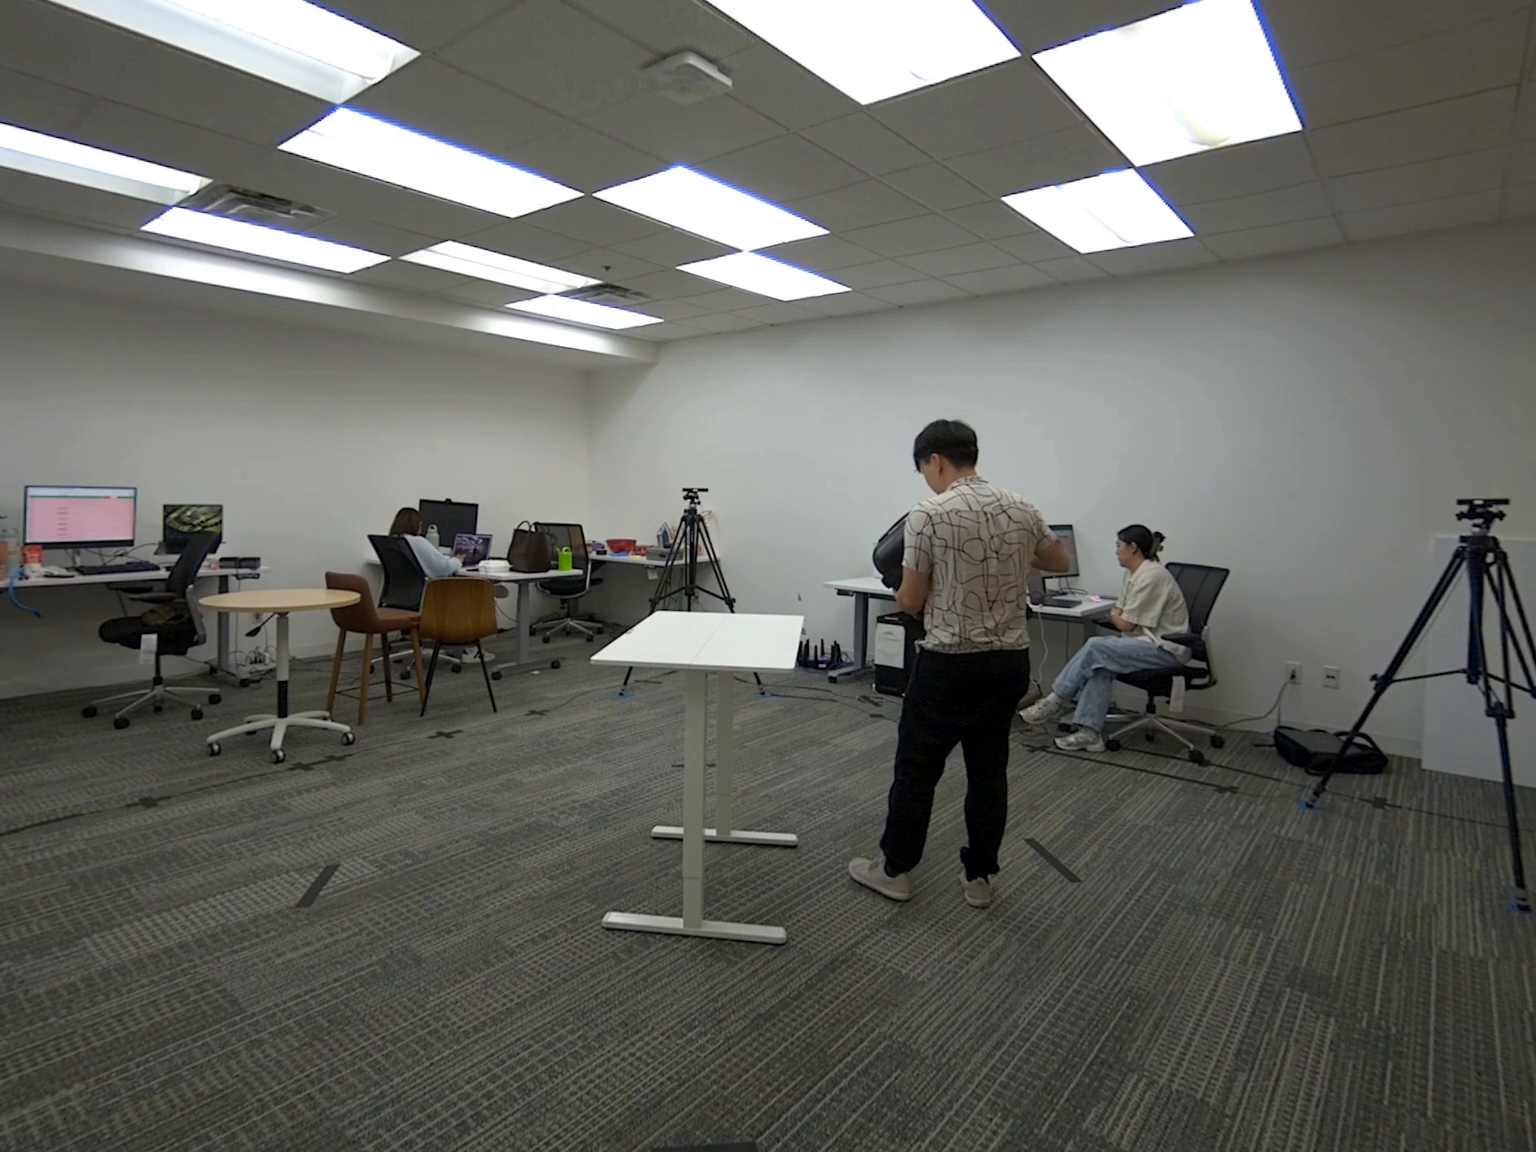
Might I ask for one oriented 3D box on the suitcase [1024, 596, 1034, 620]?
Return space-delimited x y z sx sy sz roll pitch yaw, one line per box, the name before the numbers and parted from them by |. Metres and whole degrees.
suitcase | 0.669 -0.003 3.217 0.376 0.549 0.248 -42 1 16
